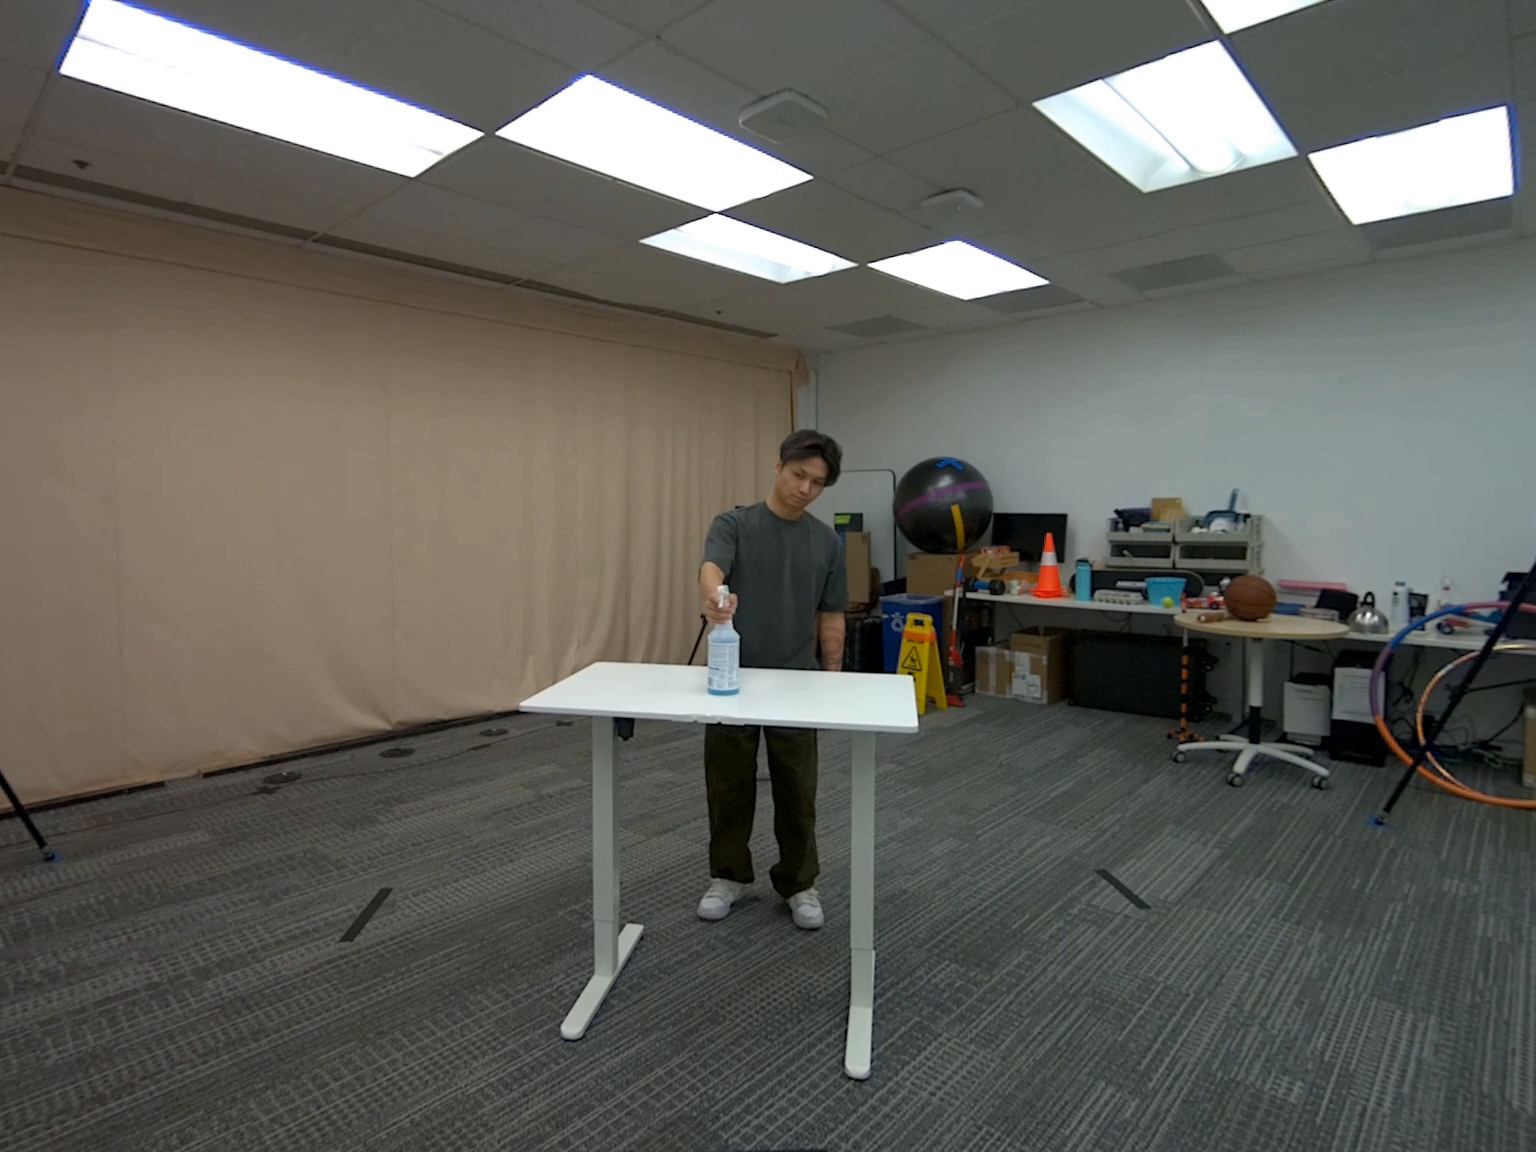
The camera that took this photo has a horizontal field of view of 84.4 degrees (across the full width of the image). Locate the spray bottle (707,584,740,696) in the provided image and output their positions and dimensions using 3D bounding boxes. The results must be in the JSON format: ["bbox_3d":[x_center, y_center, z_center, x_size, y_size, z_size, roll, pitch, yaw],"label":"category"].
[{"bbox_3d":[-0.124,0.173,2.302,0.090,0.297,0.087,4,4,36],"label":"spray bottle"}]
